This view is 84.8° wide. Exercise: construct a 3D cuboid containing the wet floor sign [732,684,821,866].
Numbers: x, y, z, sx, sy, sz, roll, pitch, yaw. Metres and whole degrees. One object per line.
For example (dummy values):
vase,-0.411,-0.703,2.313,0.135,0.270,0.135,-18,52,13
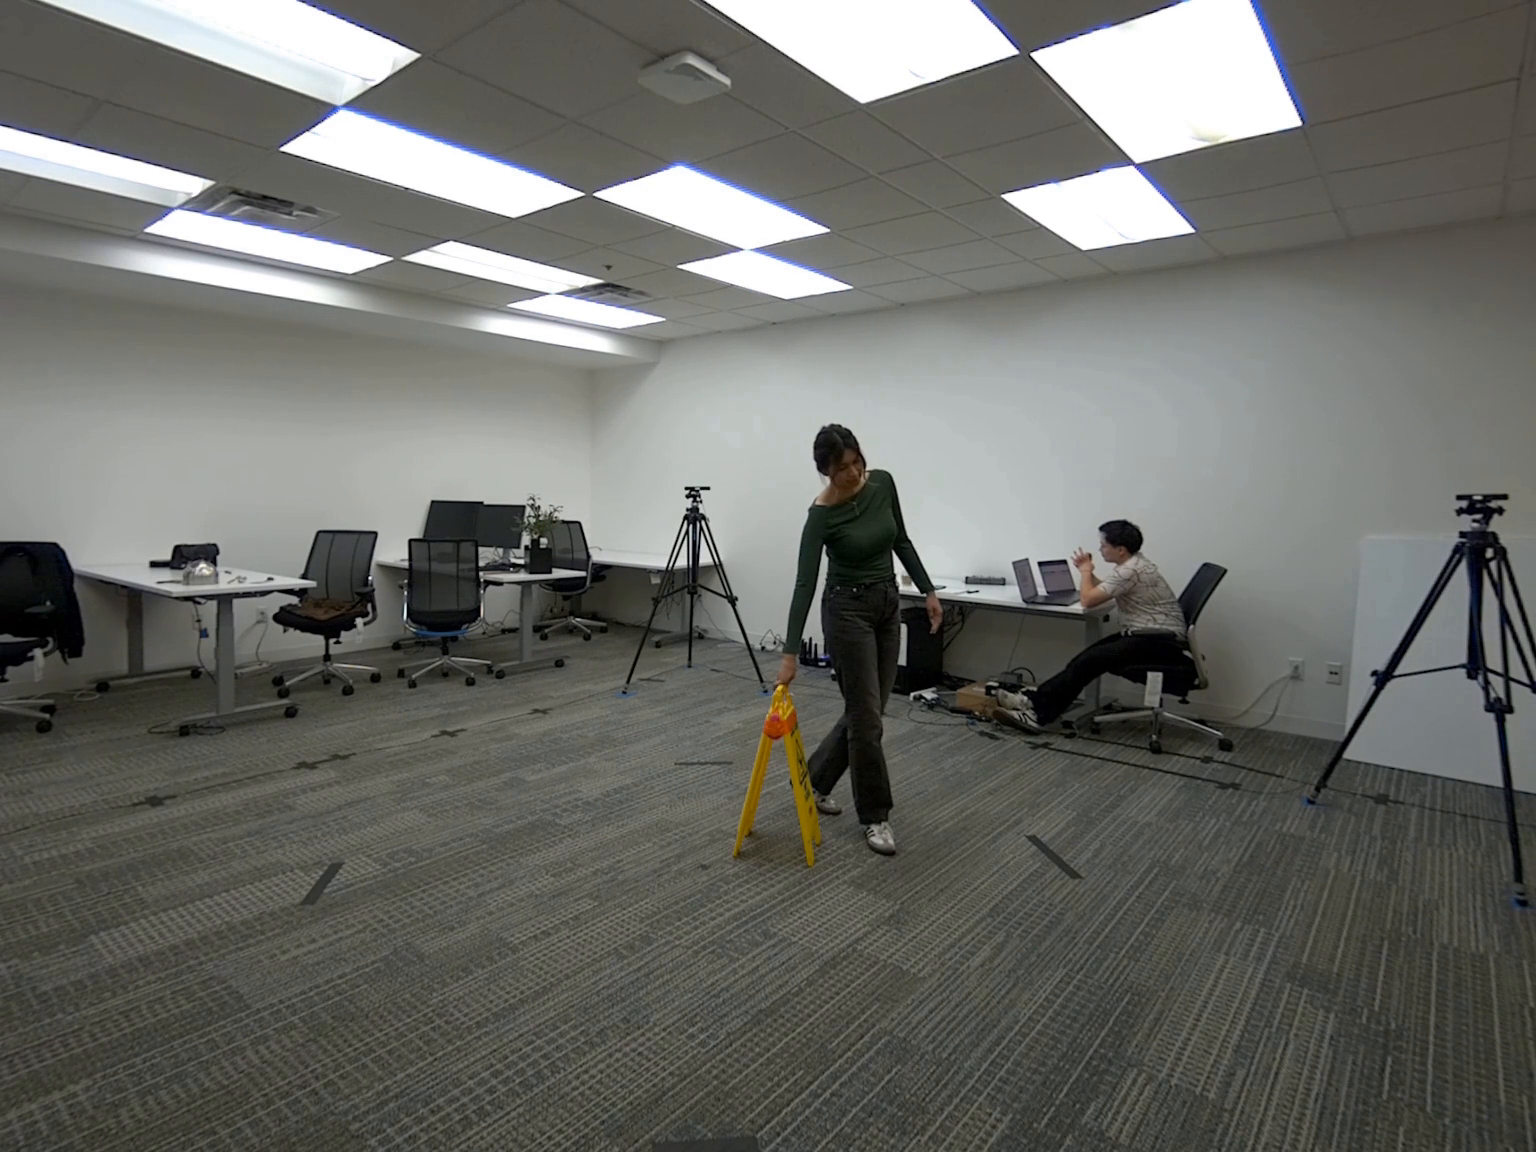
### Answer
wet floor sign,0.034,0.731,3.280,0.294,0.645,0.278,1,2,13
